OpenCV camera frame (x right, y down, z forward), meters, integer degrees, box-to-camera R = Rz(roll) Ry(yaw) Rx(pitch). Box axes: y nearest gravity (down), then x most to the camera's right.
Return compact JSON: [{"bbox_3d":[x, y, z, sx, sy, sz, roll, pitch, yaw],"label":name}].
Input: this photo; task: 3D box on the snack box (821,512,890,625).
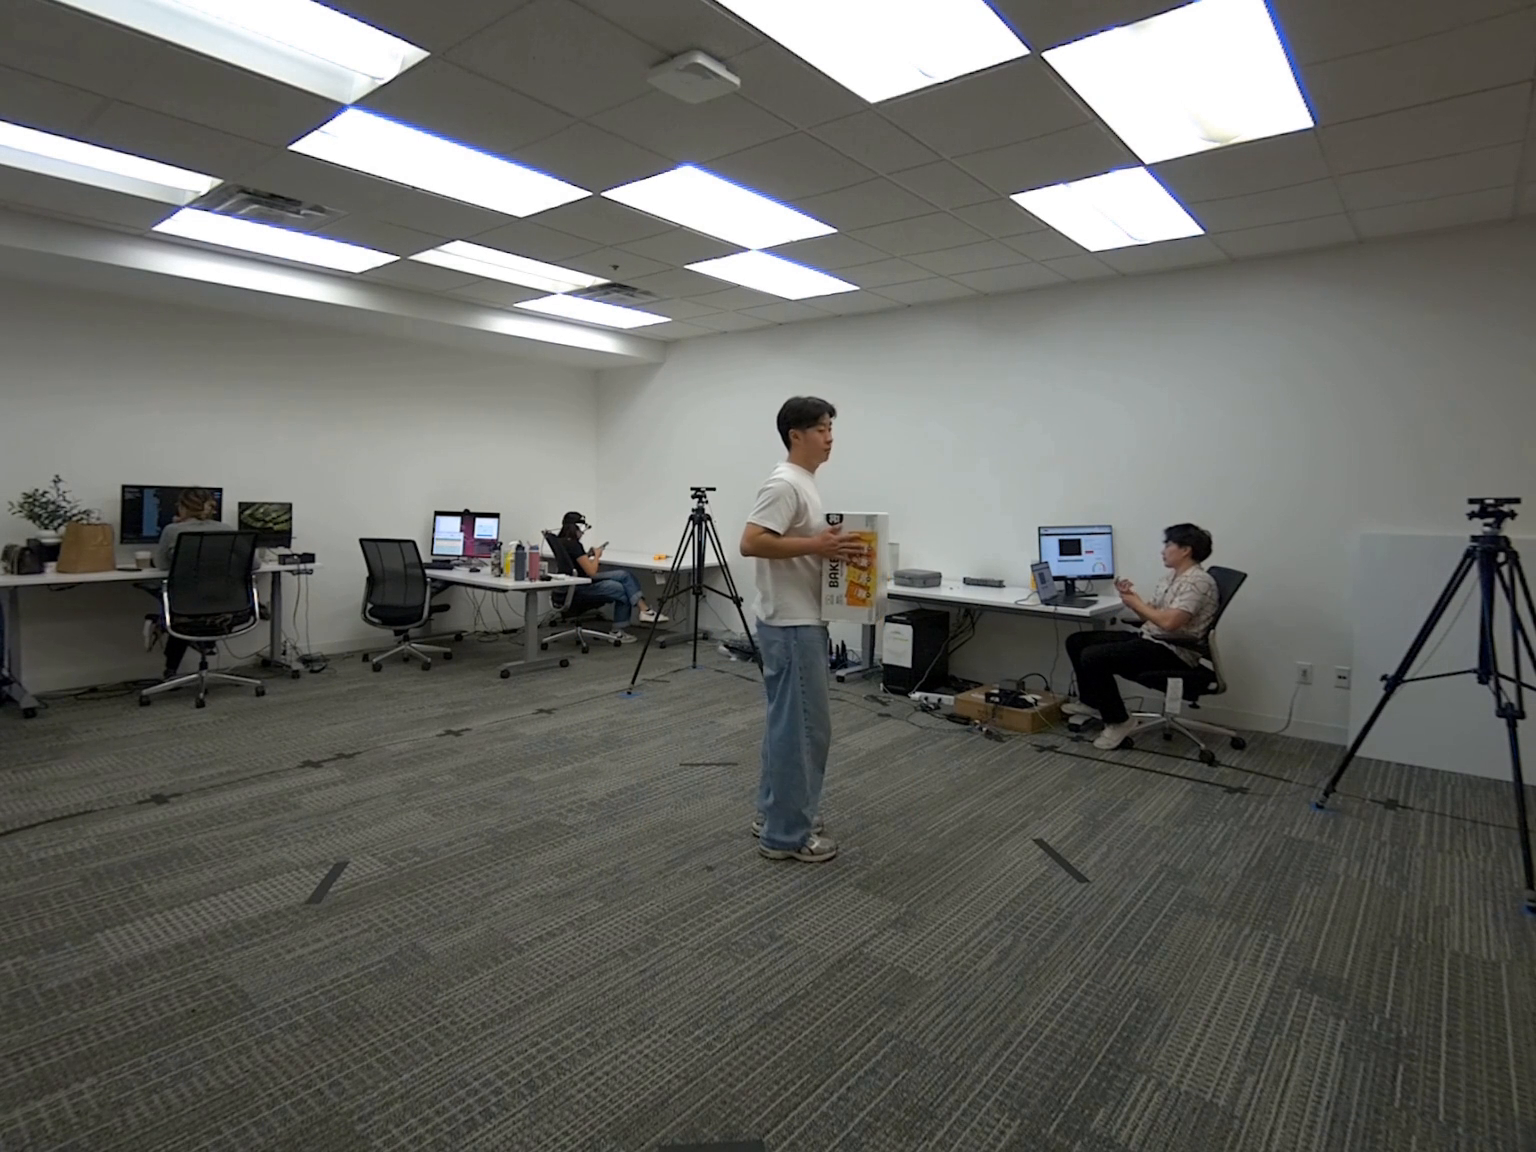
[{"bbox_3d":[0.334,-0.043,3.295,0.209,0.404,0.335,2,4,16],"label":"snack box"}]
